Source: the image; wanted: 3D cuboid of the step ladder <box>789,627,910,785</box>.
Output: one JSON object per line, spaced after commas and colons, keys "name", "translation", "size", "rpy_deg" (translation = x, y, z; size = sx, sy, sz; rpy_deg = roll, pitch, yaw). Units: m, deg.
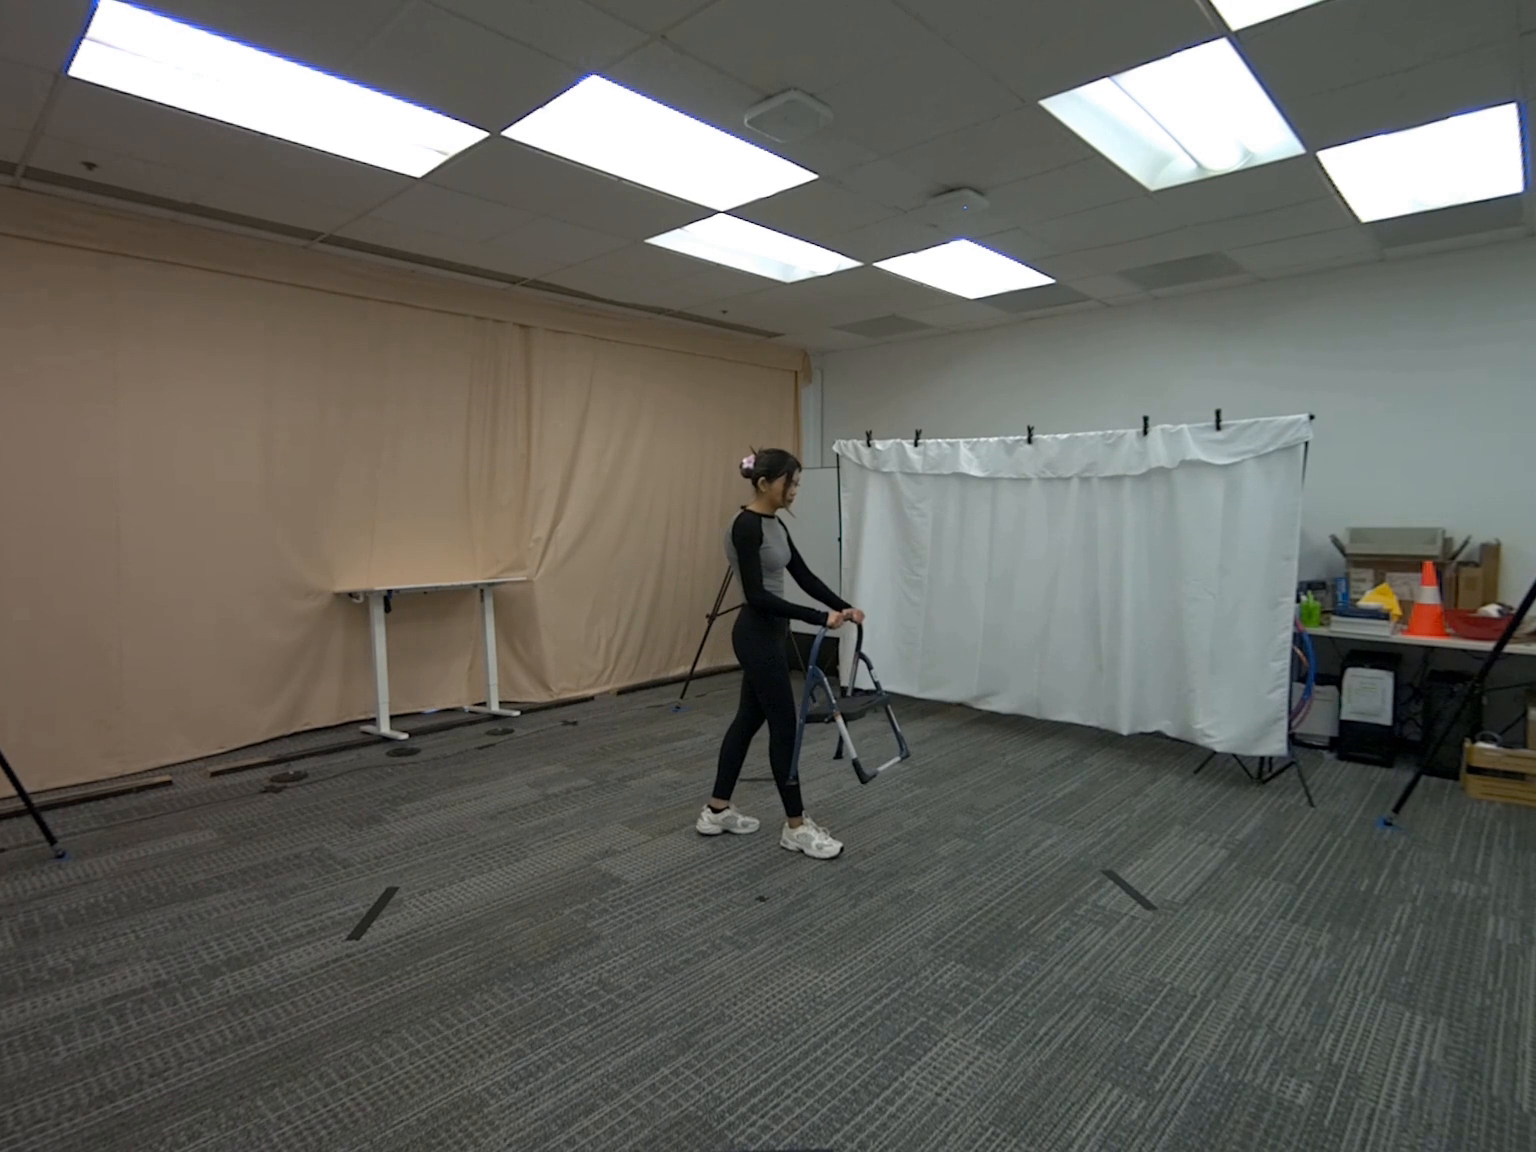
{"name": "step ladder", "translation": [0.287, 0.472, 3.343], "size": [0.358, 0.607, 0.419], "rpy_deg": [-10, -1, 33]}
